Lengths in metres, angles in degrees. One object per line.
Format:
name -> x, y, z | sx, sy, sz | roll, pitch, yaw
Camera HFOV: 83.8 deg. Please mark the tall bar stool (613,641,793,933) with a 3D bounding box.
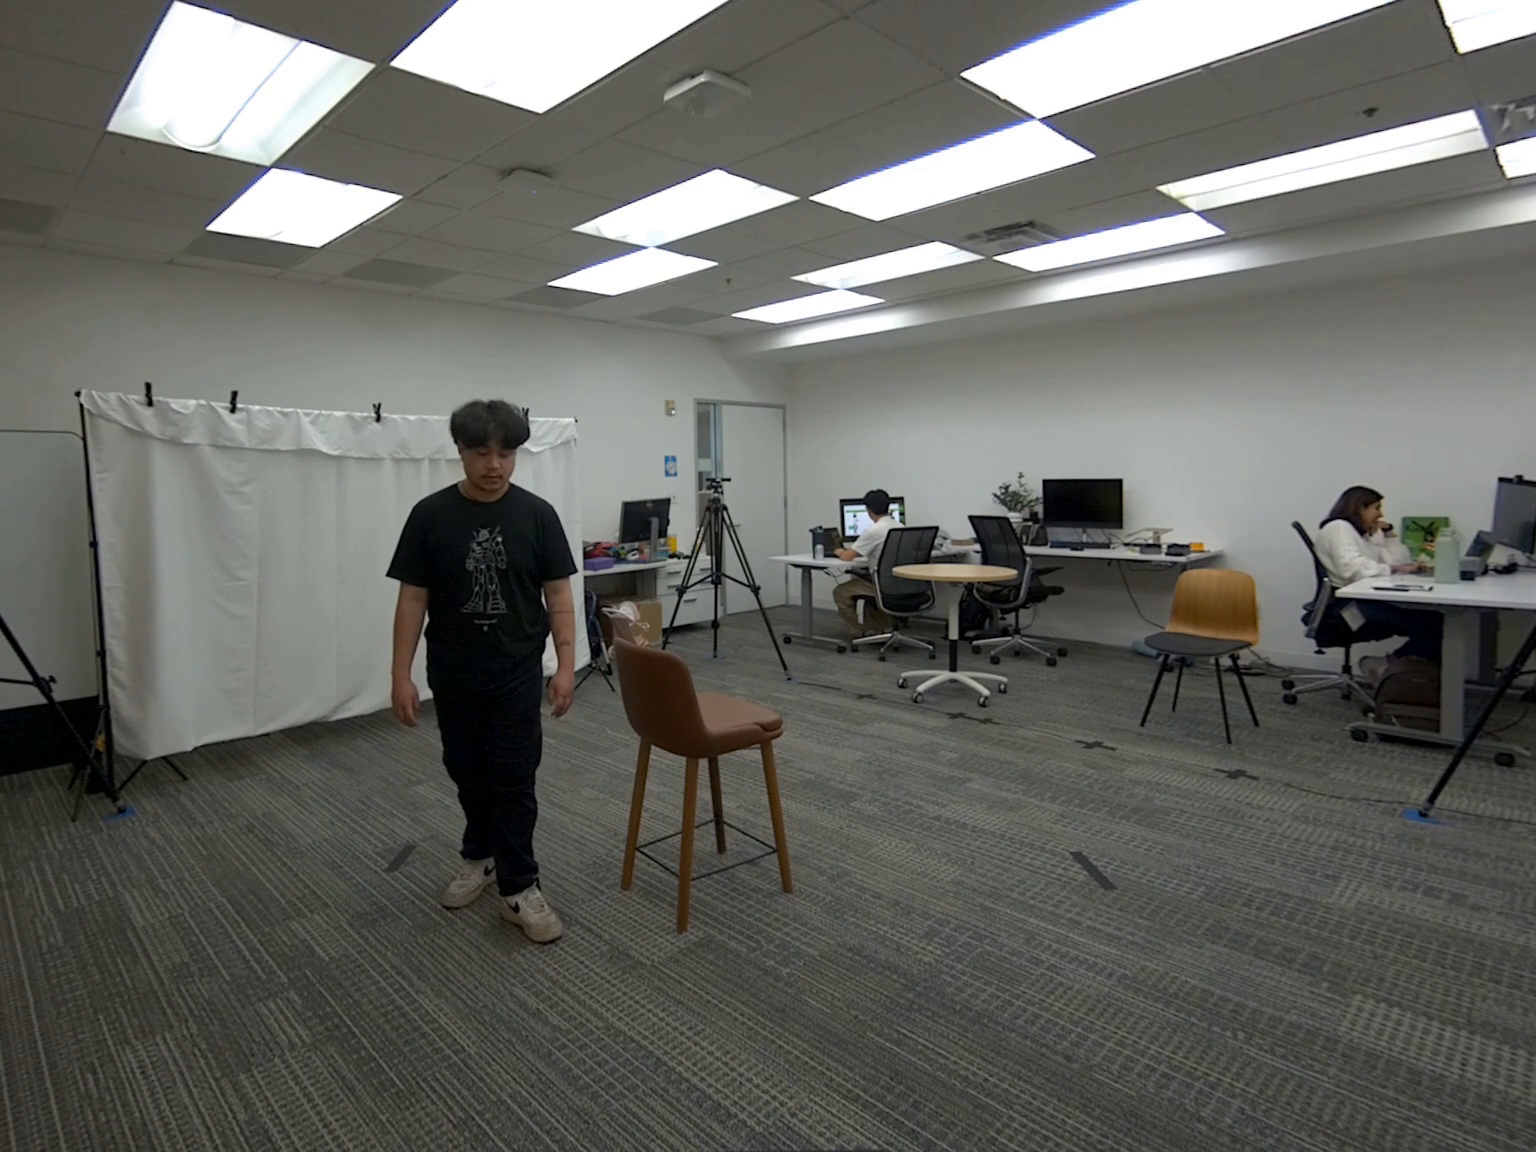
tall bar stool -> -0.231, 0.634, 2.884 | 0.456, 0.885, 0.470 | -7, 7, -37
